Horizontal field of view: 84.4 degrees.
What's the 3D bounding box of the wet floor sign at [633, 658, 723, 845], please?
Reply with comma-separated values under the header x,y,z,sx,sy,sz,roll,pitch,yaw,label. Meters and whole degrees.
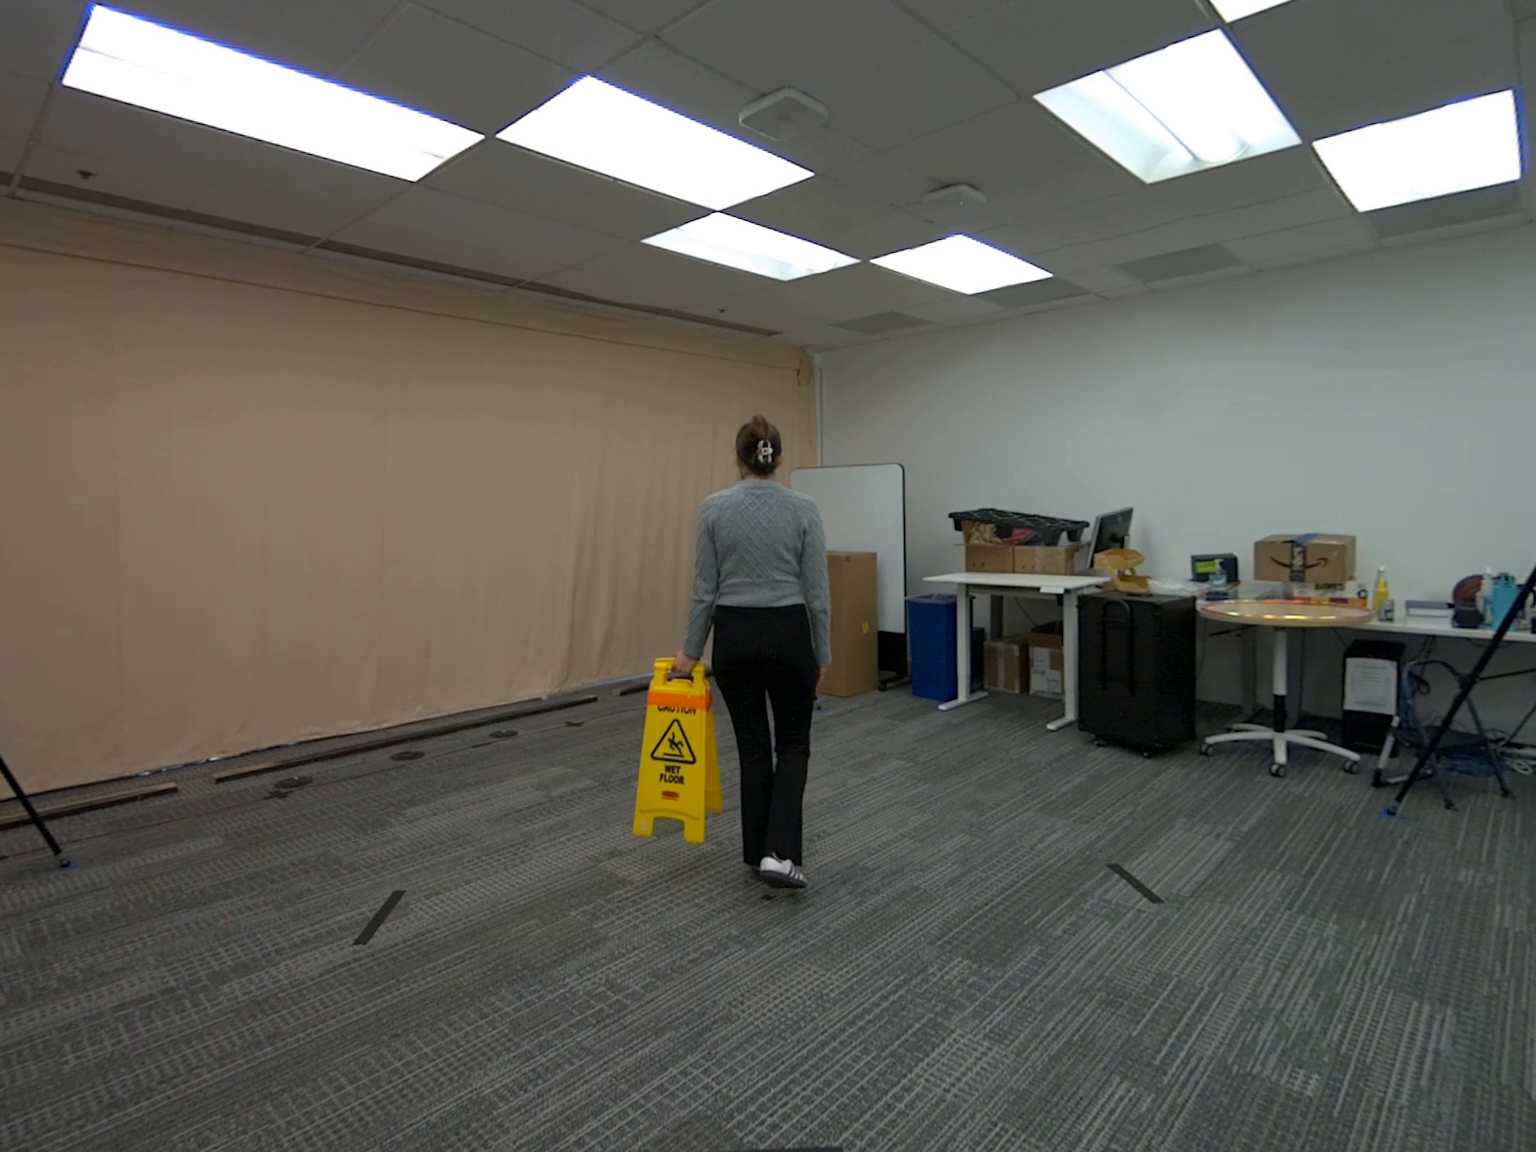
x,y,z,sx,sy,sz,roll,pitch,yaw,label
-0.339,0.640,3.231,0.286,0.643,0.286,4,7,12,wet floor sign
